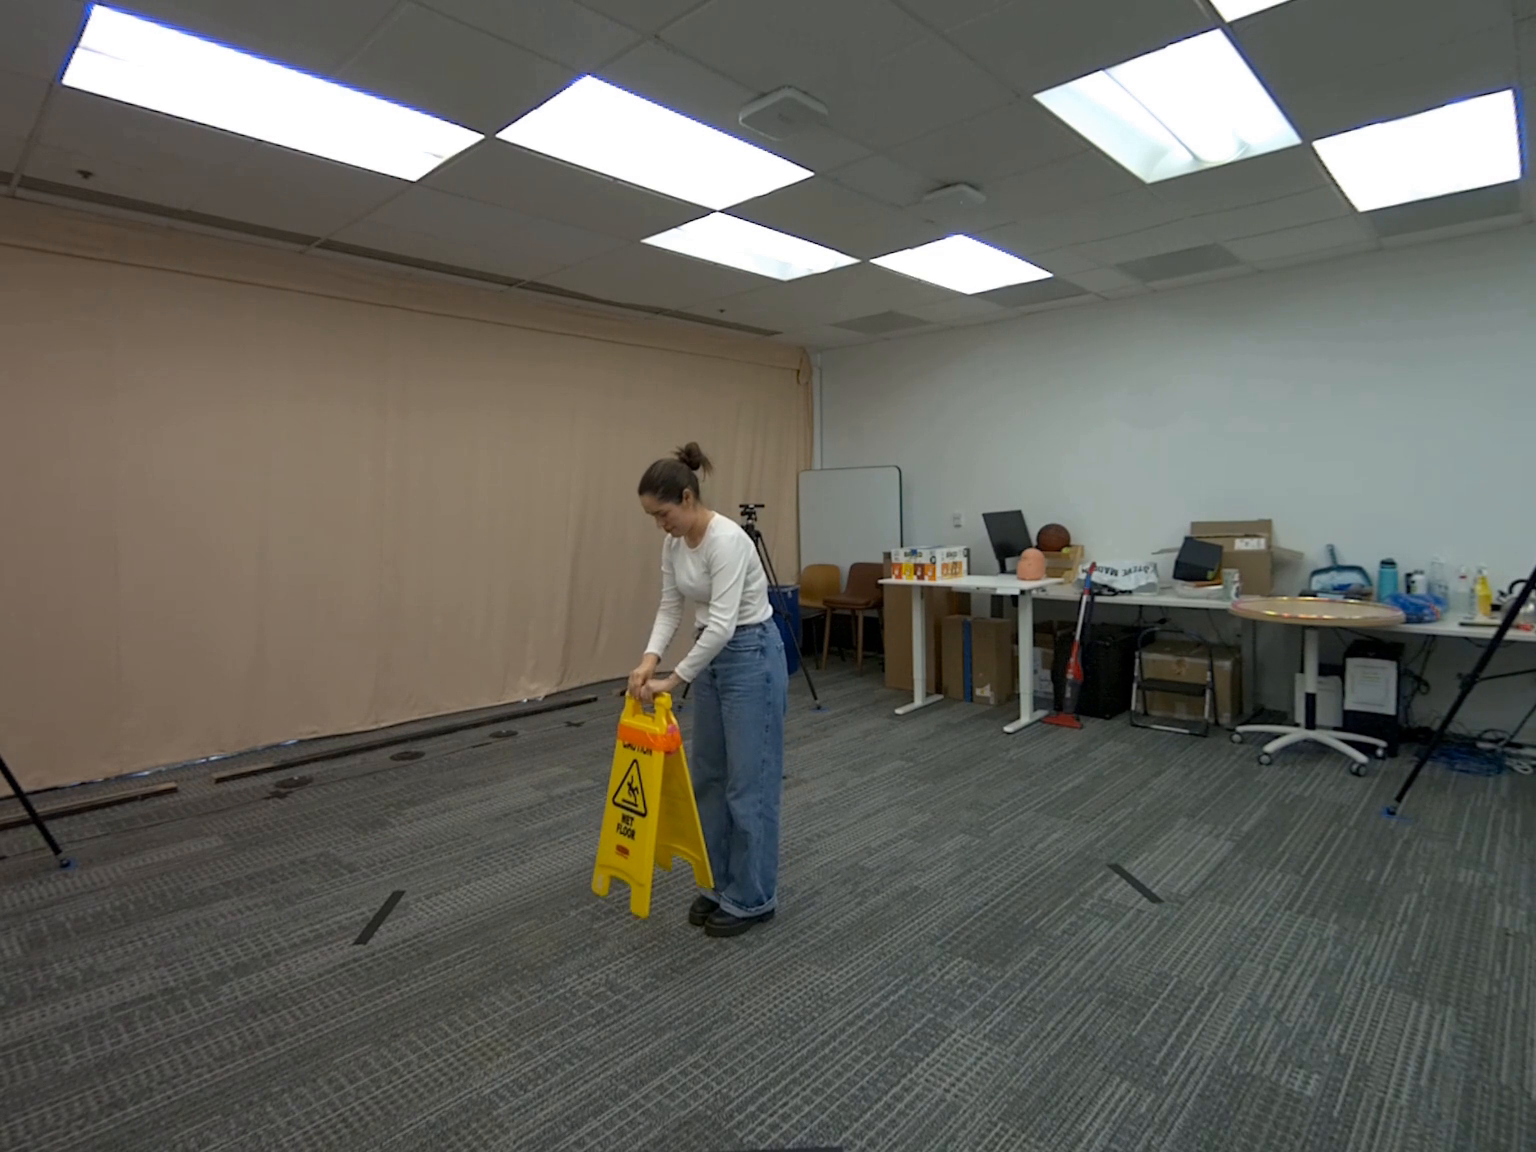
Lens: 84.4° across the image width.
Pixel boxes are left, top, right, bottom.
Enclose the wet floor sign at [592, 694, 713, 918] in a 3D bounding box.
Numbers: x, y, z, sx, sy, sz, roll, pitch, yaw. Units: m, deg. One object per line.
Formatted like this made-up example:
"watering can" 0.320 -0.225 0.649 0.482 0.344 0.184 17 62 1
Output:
"wet floor sign" -0.373 0.683 2.674 0.281 0.645 0.291 -4 3 -44
